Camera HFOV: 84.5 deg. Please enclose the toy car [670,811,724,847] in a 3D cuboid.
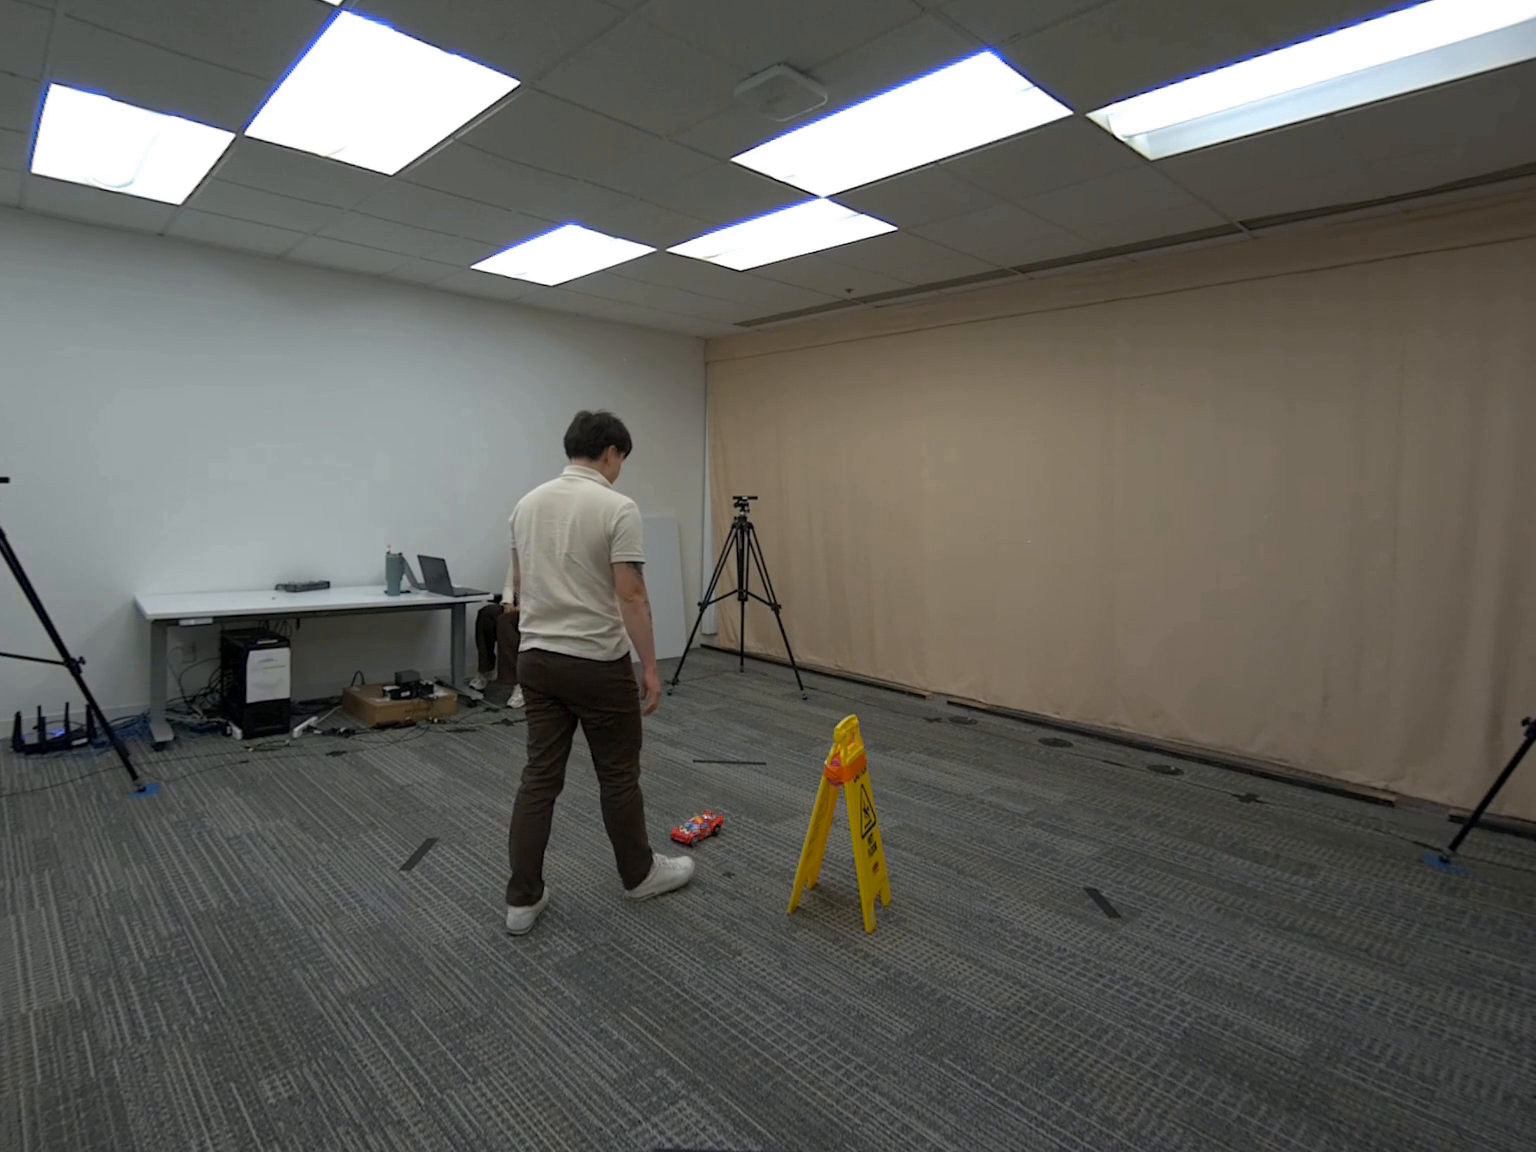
[{"bbox_3d":[-0.290,1.038,3.453,0.133,0.082,0.251,3,16,36],"label":"toy car"}]
